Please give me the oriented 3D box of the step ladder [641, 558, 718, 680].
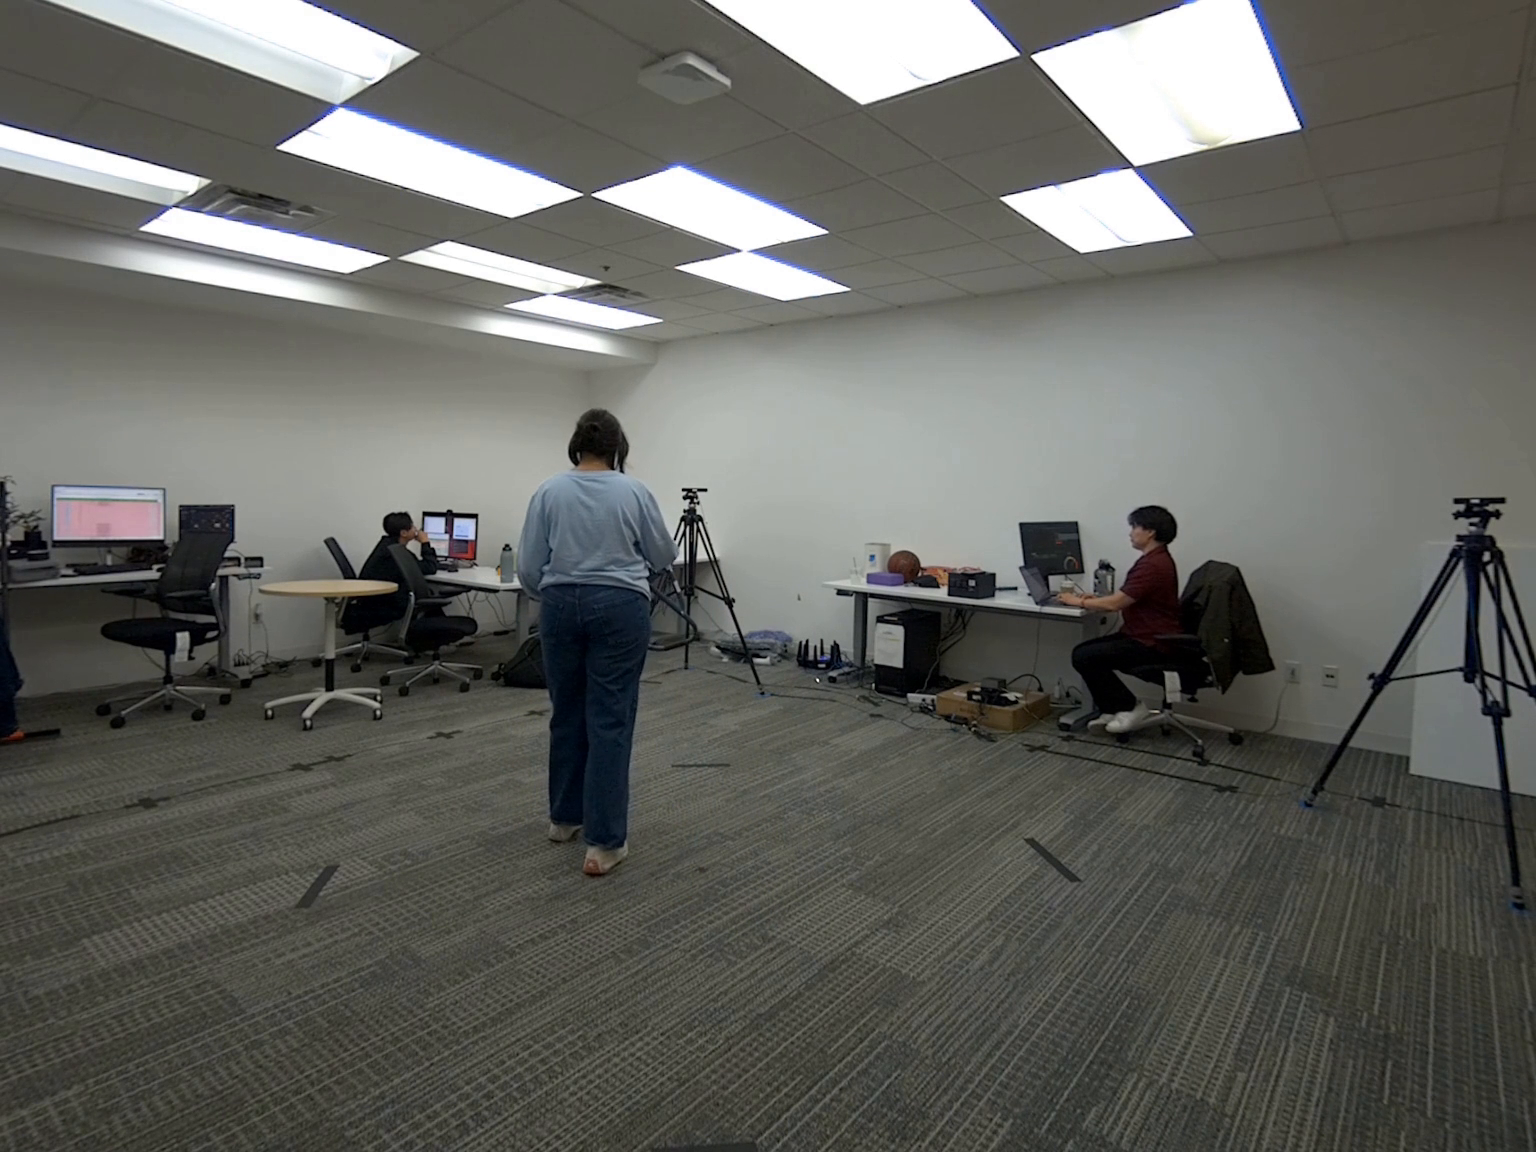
[{"bbox_3d":[-0.613,0.101,3.670,0.439,0.598,0.347,-20,14,41],"label":"step ladder"}]
